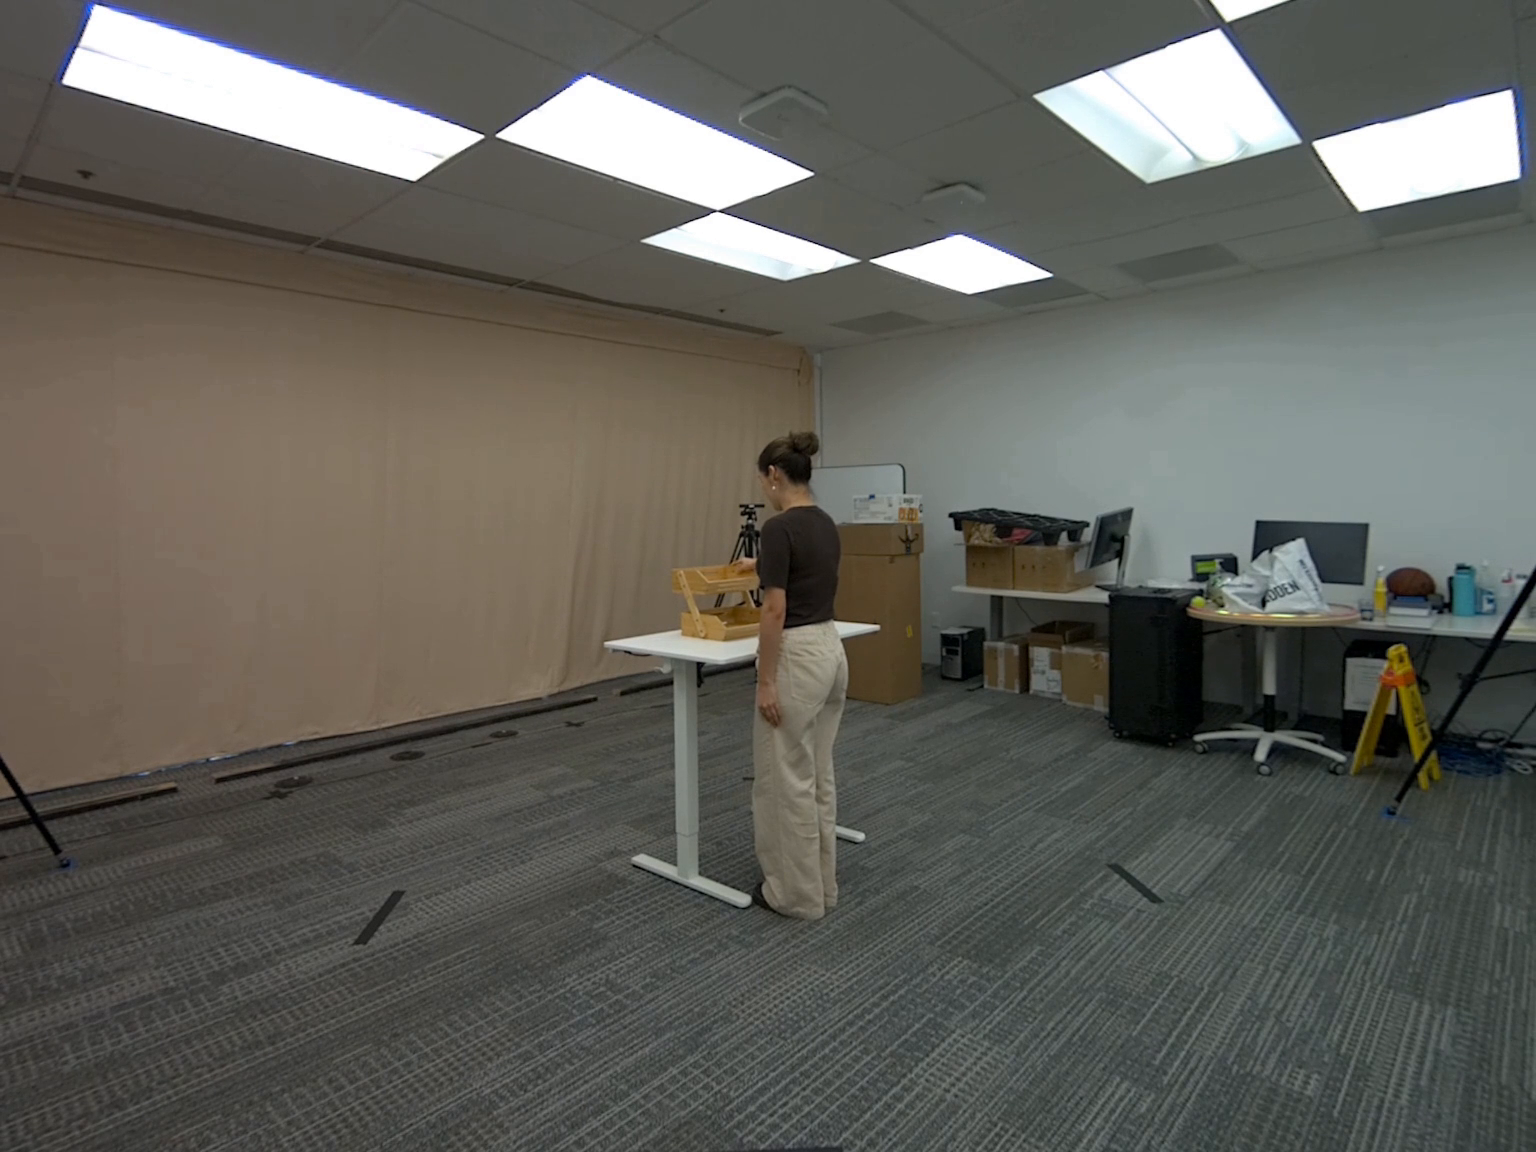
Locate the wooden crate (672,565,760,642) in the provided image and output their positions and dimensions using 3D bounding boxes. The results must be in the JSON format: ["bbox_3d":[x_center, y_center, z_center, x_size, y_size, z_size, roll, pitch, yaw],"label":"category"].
[{"bbox_3d":[-0.167,0.098,3.342,0.312,0.273,0.314,1,4,44],"label":"wooden crate"}]
